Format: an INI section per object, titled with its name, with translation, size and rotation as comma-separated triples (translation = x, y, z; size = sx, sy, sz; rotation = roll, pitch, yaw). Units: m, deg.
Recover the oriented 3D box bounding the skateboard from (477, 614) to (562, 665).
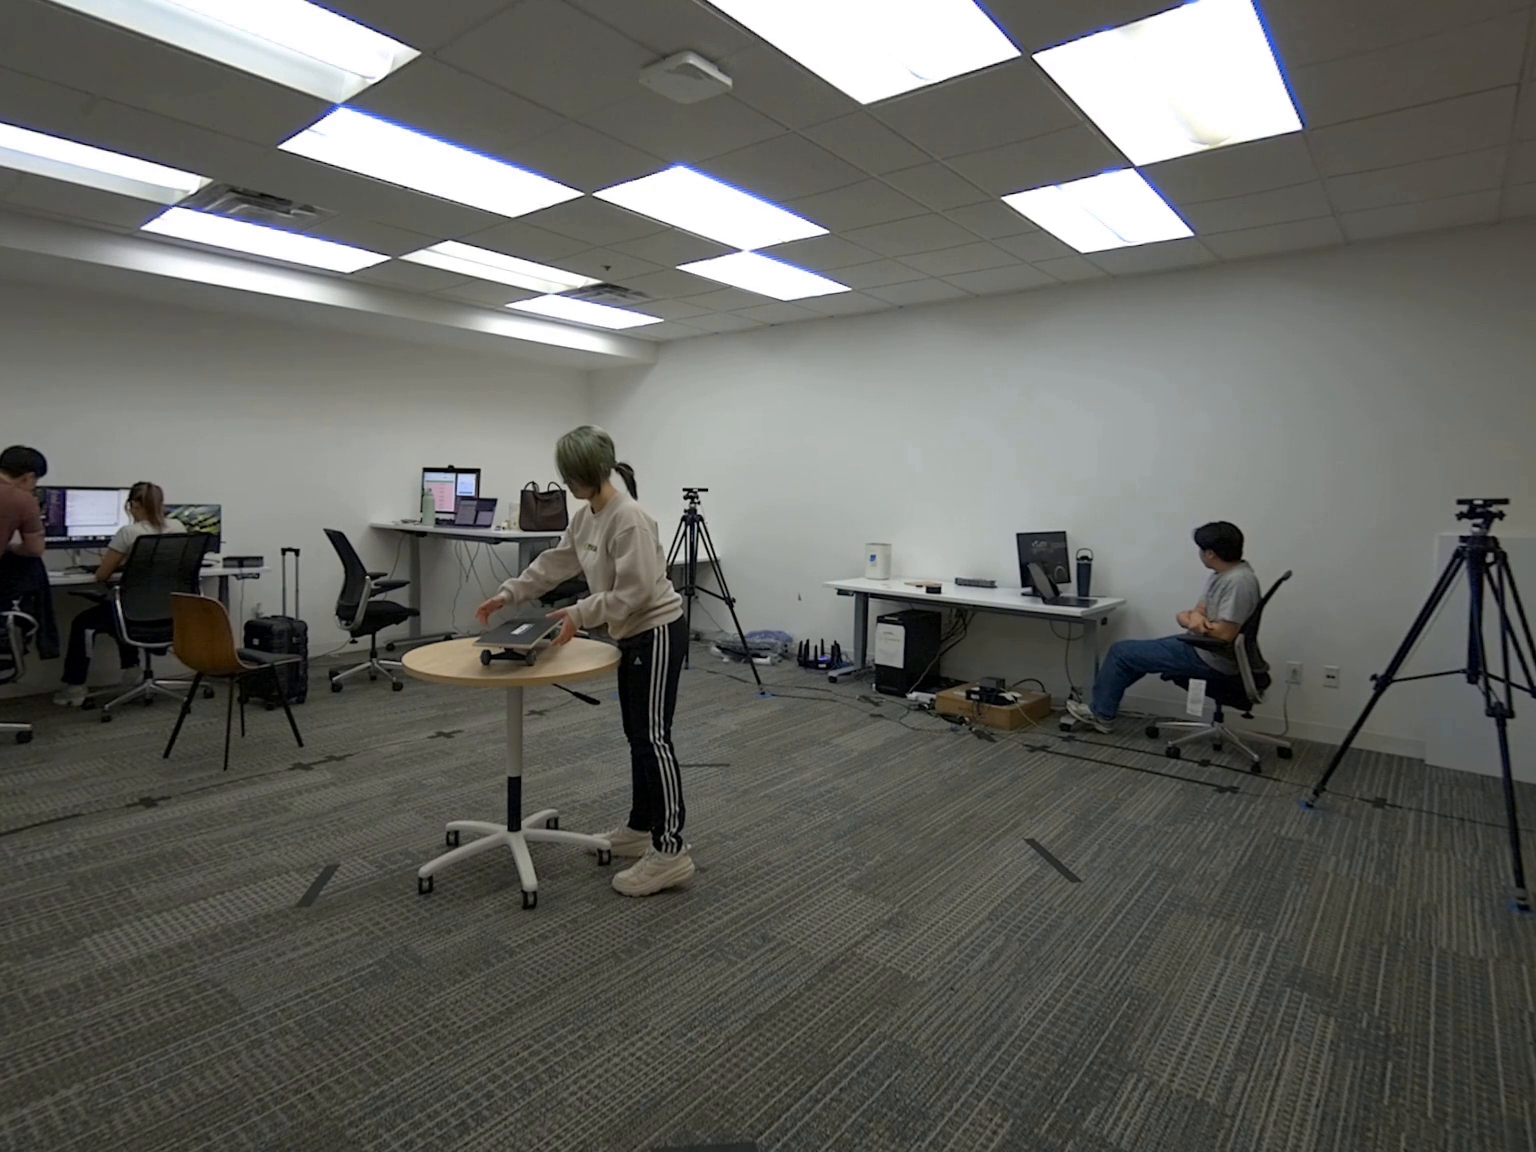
[skateboard]
translation = -0.898, 0.230, 3.070
size = 0.193, 0.110, 0.789
rotation = 2, 6, -3
